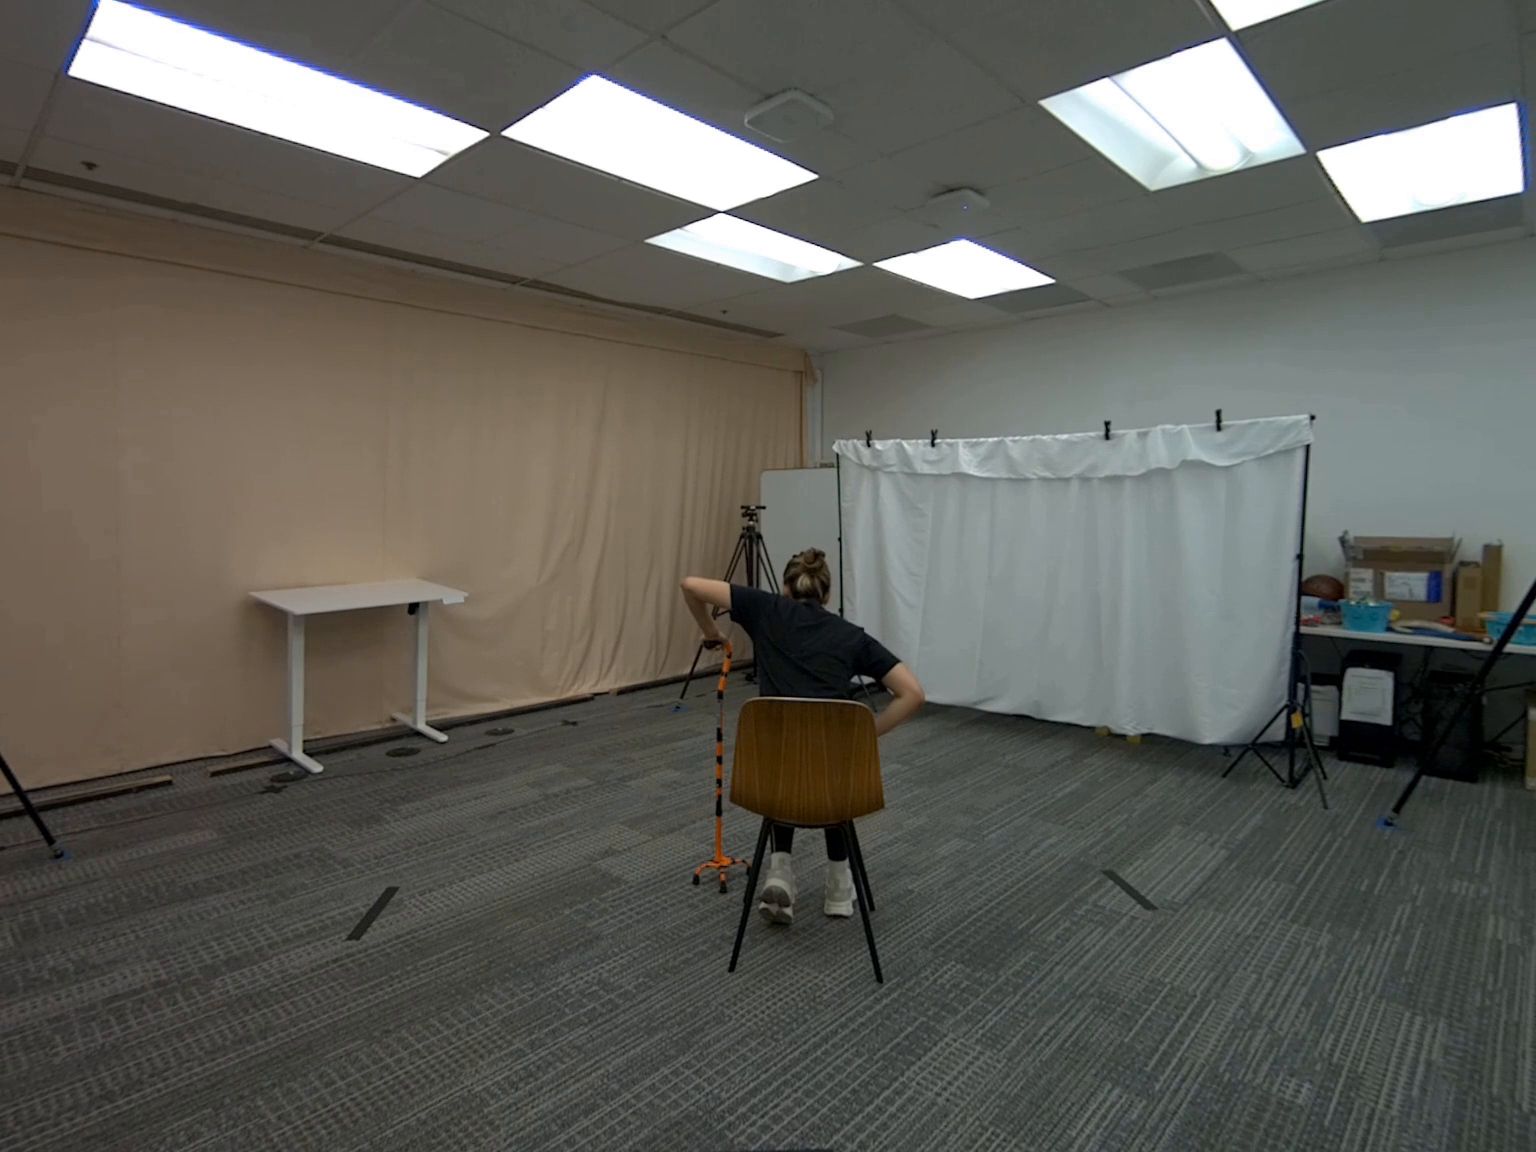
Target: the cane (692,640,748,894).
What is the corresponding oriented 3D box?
[{"bbox_3d":[-0.166,0.684,3.118,0.156,0.905,0.200,3,5,35],"label":"cane"}]
